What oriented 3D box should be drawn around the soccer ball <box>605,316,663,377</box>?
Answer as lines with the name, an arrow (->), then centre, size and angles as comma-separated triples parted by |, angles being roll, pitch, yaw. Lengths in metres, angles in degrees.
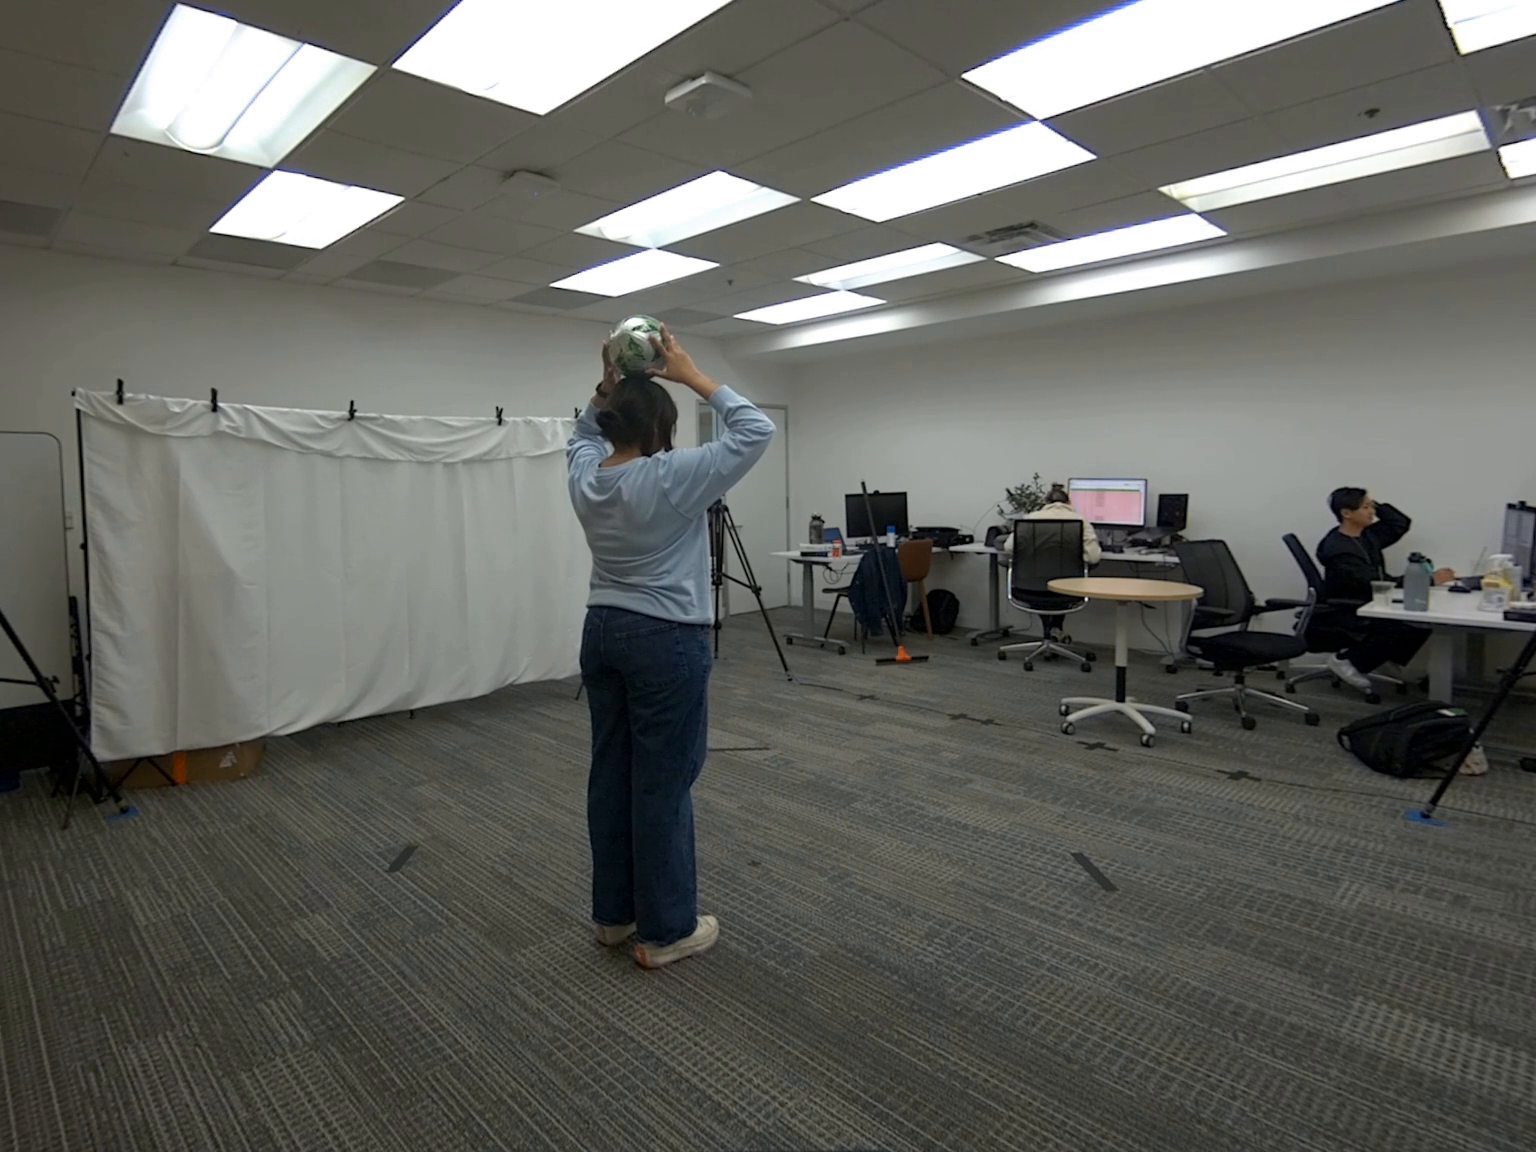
soccer ball -> -0.371, -0.666, 2.499 | 0.187, 0.187, 0.188 | -1, 5, -2
